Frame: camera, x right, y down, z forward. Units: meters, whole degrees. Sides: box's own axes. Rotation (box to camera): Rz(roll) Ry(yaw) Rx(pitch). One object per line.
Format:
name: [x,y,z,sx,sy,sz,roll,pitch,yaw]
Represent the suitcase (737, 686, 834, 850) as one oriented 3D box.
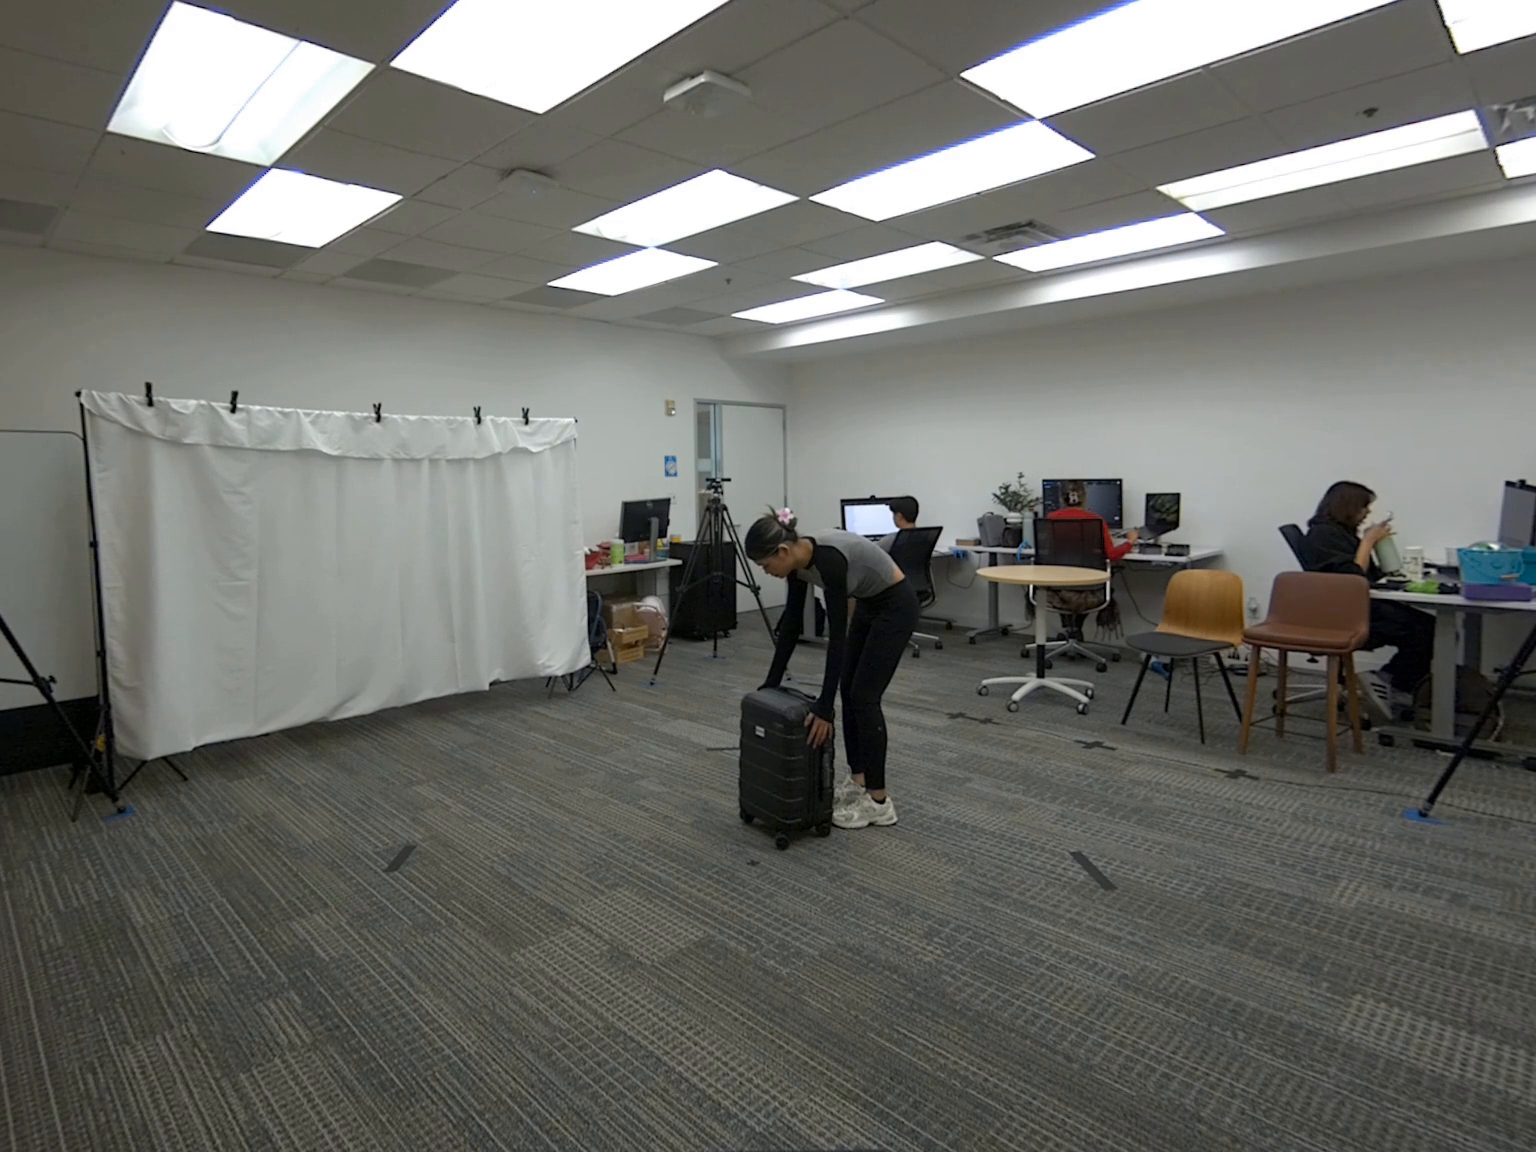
suitcase: [0.077,0.731,3.384,0.242,0.547,0.387,-2,6,-34]
